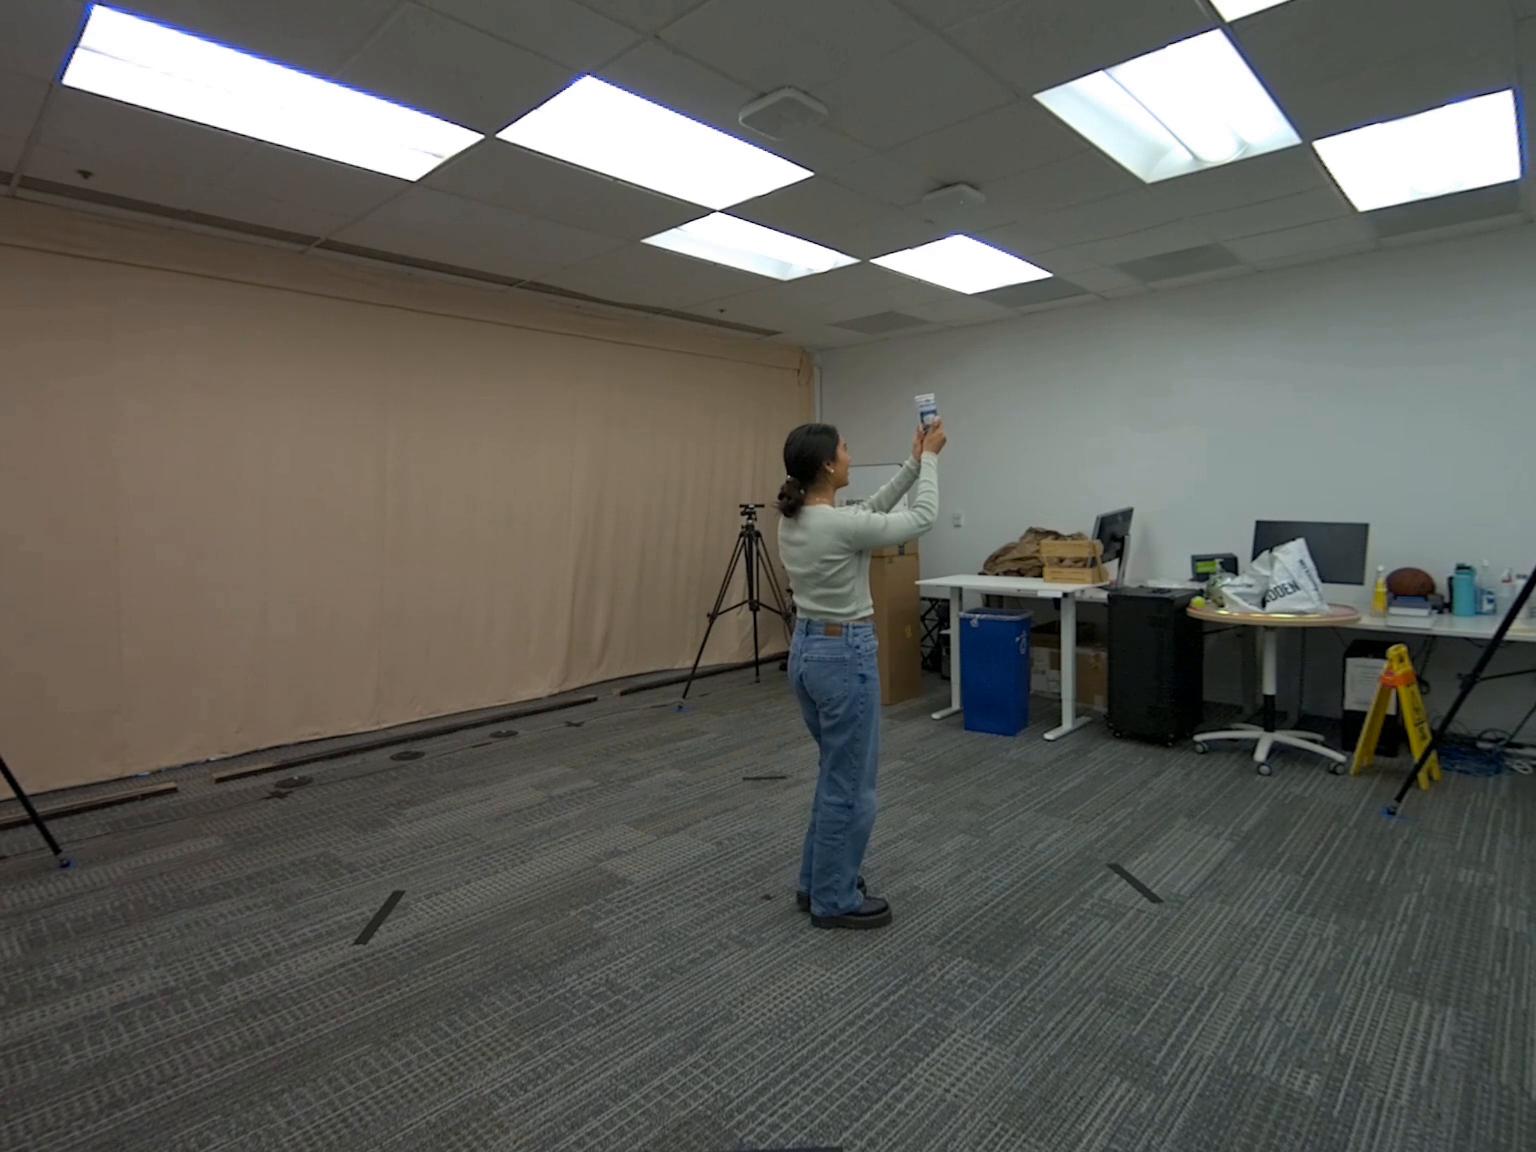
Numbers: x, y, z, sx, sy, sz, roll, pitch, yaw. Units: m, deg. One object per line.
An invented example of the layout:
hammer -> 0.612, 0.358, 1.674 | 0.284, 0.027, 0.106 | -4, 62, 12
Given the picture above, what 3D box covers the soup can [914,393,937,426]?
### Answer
soup can -> 0.531, -0.546, 2.821 | 0.067, 0.121, 0.067 | -5, 6, -1
